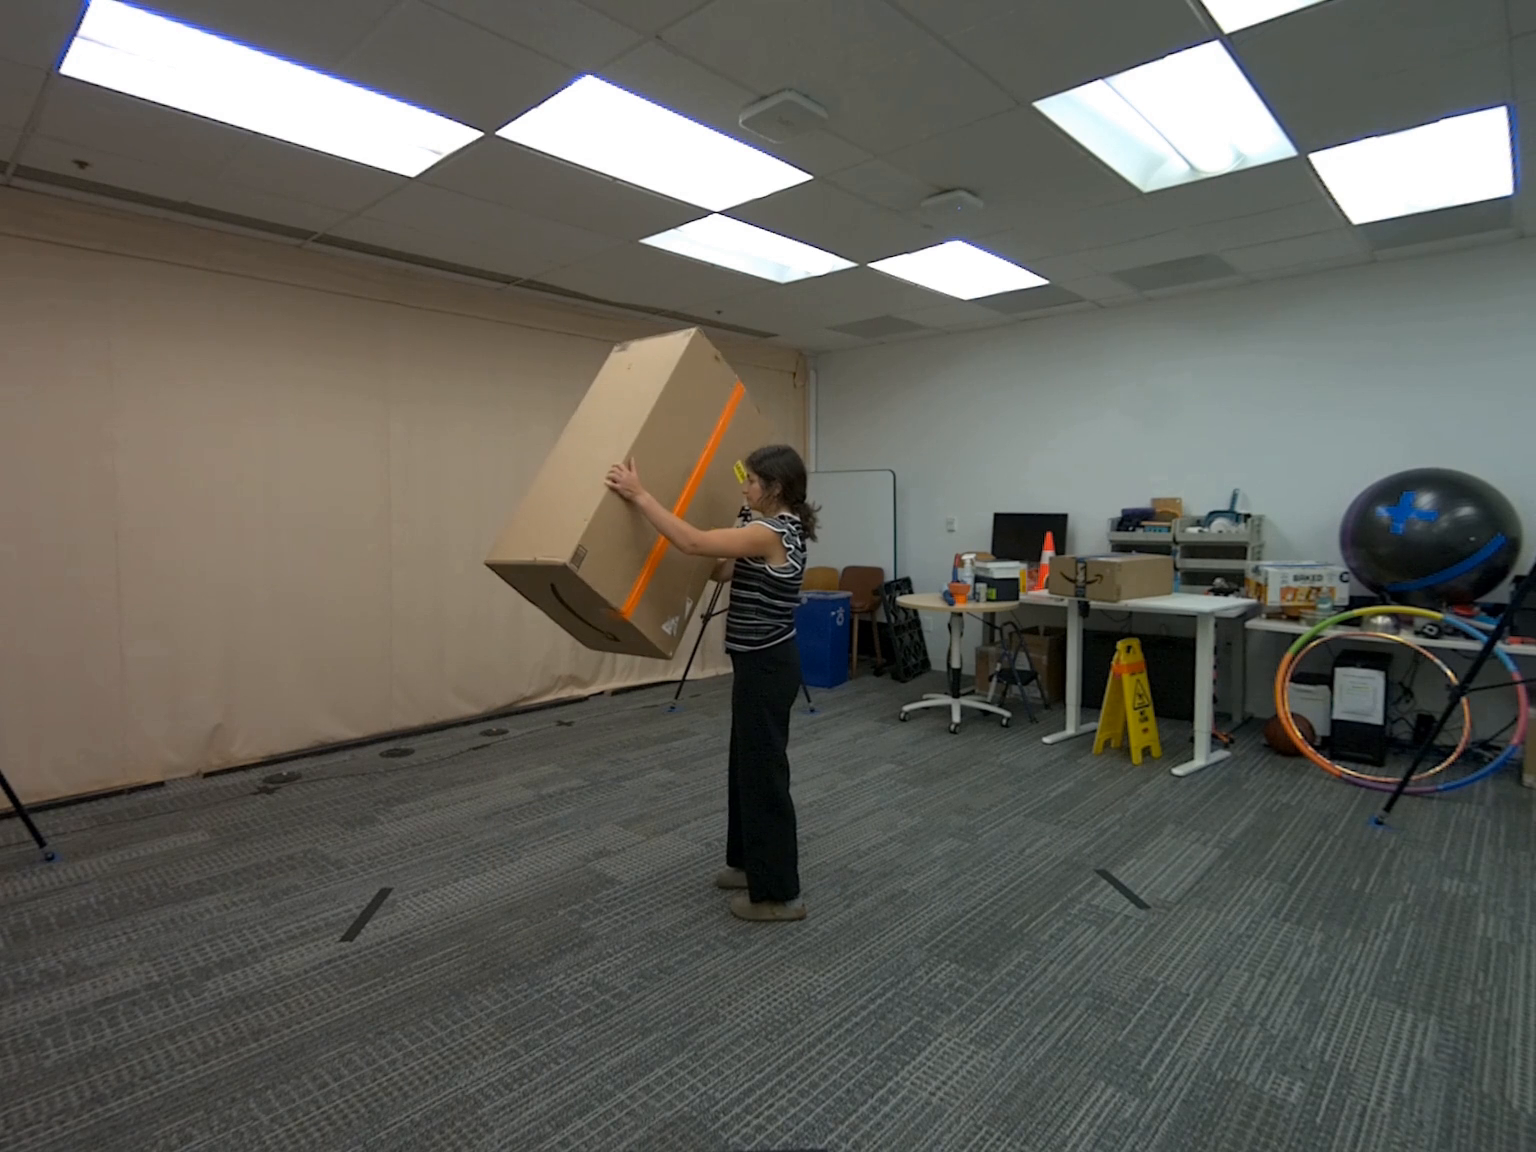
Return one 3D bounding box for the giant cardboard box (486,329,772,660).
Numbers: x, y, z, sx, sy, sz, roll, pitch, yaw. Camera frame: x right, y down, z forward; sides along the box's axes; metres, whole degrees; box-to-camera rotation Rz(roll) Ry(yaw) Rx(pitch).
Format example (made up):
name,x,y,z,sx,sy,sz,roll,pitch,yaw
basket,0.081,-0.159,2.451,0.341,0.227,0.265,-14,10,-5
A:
name,x,y,z,sx,sy,sz,roll,pitch,yaw
giant cardboard box,-0.446,-0.296,3.037,0.439,1.029,0.558,0,-35,37
